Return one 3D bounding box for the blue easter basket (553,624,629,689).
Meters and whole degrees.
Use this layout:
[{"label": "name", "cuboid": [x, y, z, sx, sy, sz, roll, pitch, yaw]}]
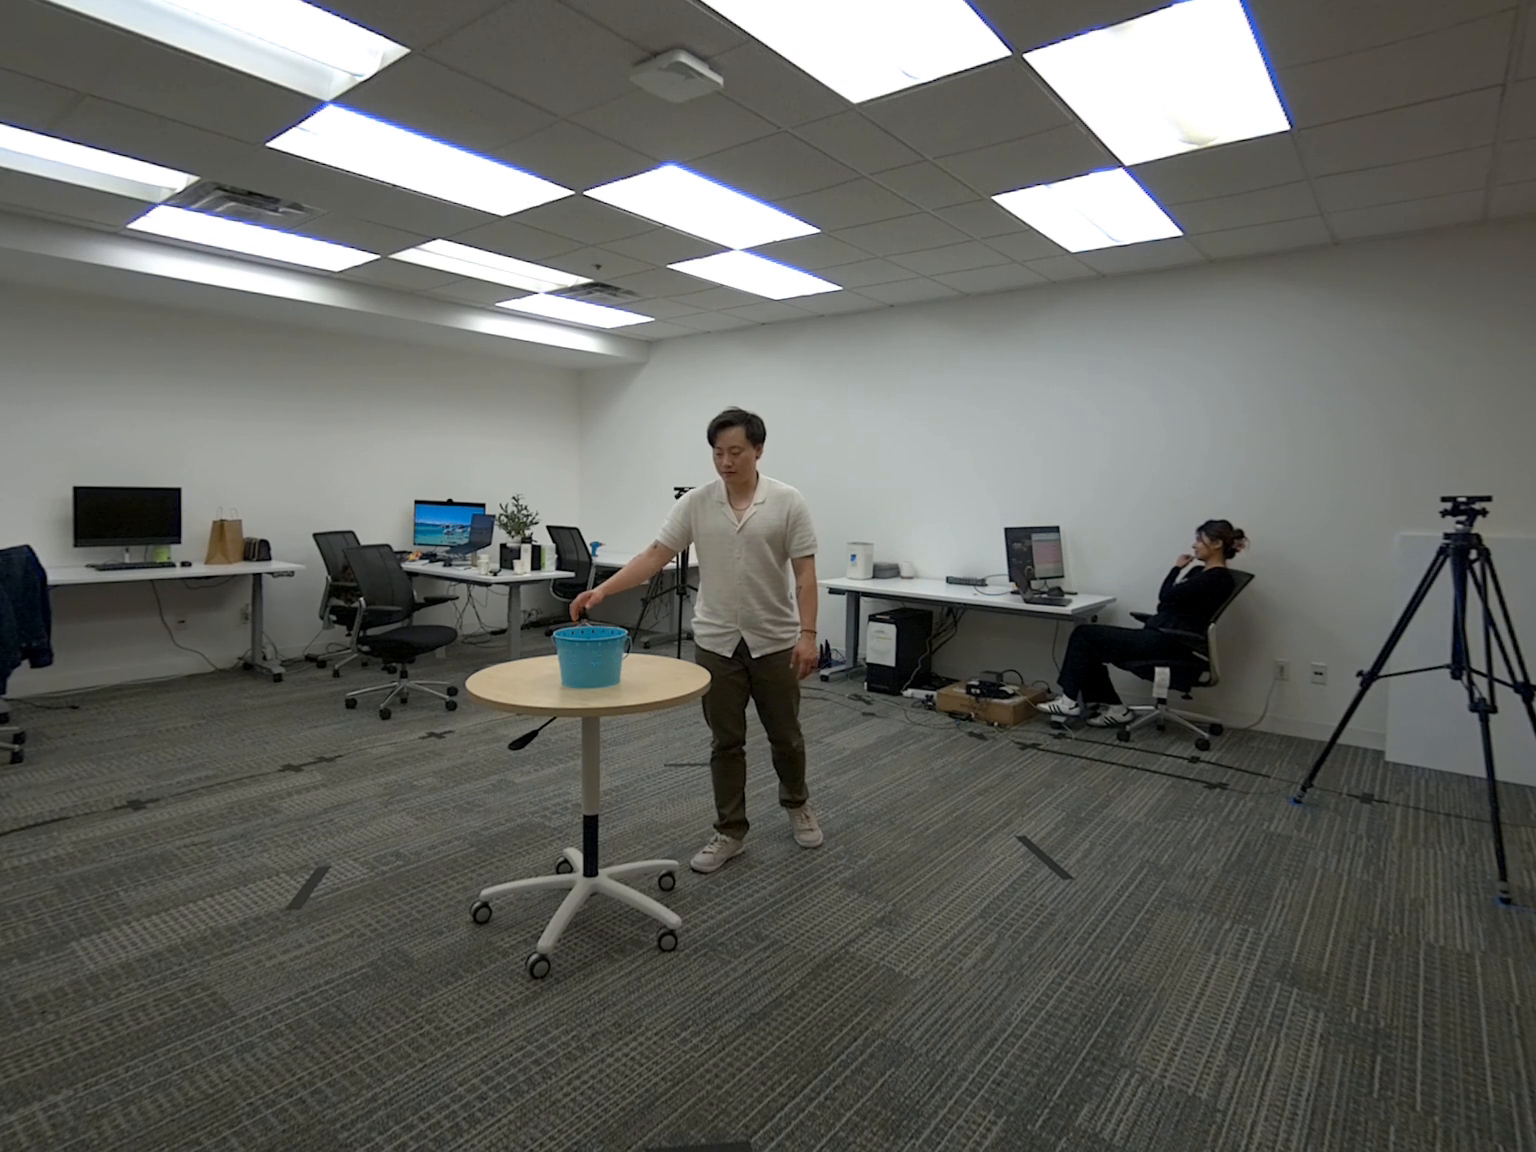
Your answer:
[{"label": "blue easter basket", "cuboid": [-0.563, 0.253, 2.633, 0.243, 0.155, 0.245, -1, 6, -2]}]
